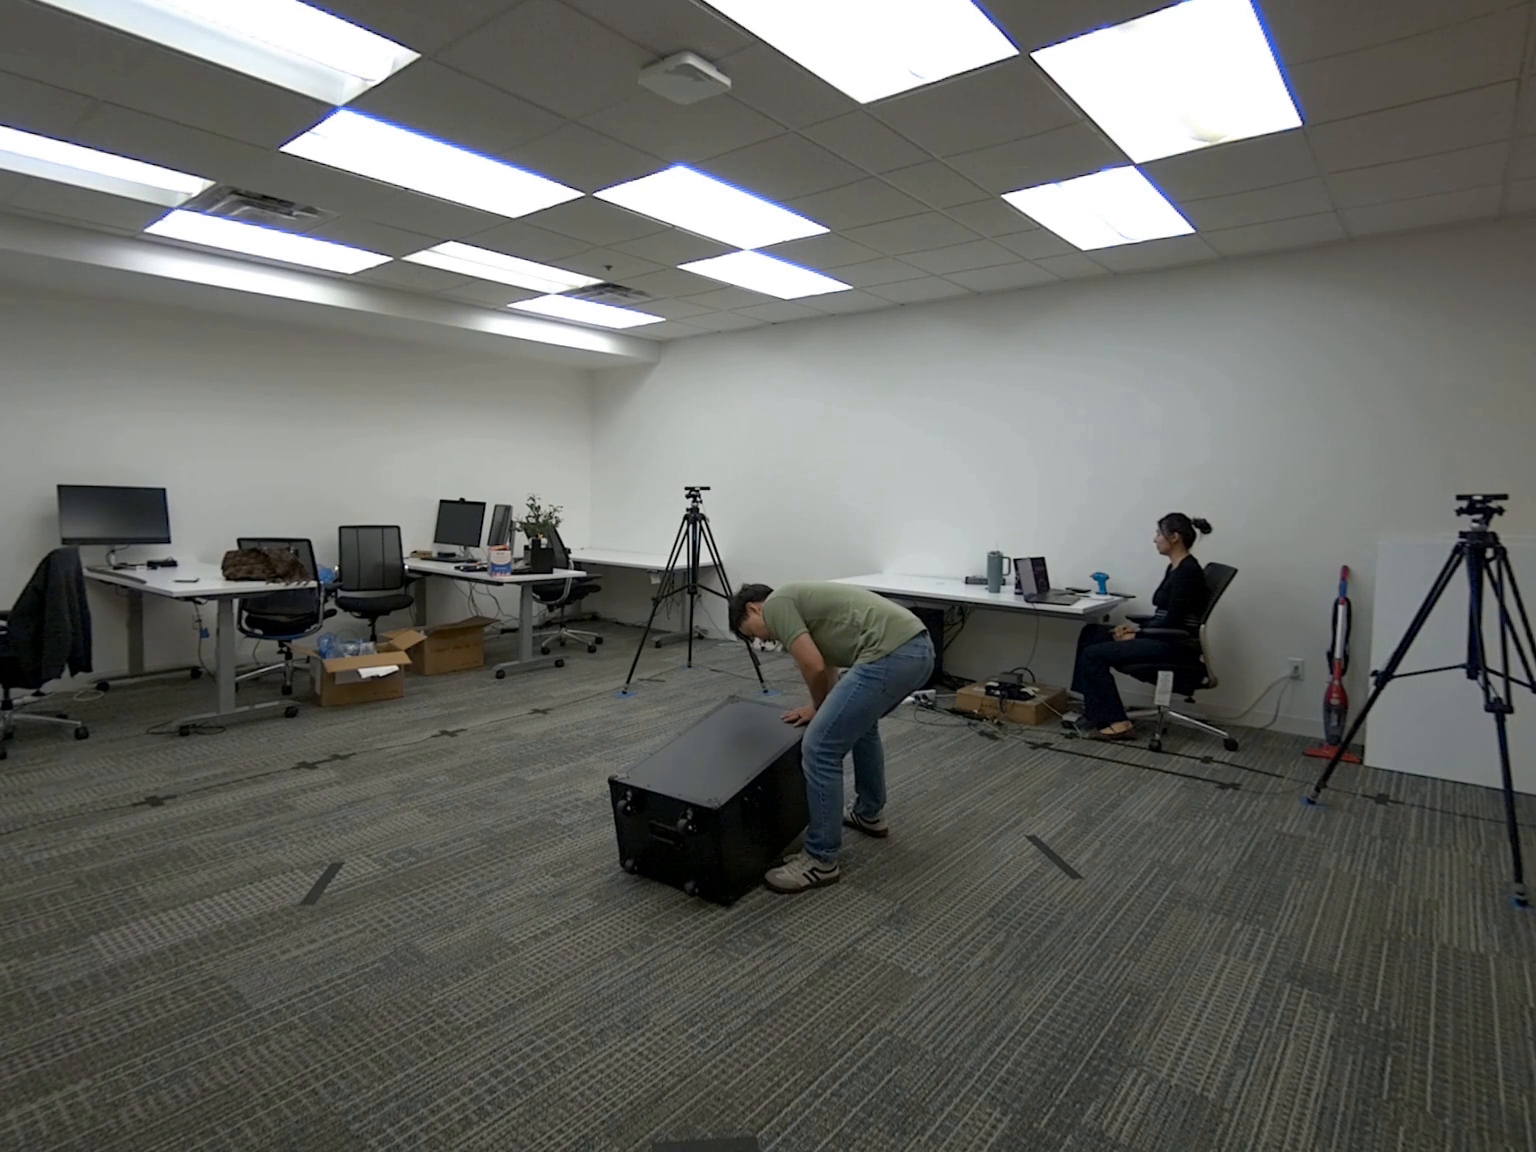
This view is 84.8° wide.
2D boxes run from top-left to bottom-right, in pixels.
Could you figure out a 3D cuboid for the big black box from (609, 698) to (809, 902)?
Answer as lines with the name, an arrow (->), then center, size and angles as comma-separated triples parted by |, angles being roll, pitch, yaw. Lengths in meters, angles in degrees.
big black box -> -0.180, 0.815, 3.187 | 0.537, 0.391, 0.846 | 4, 16, 32
